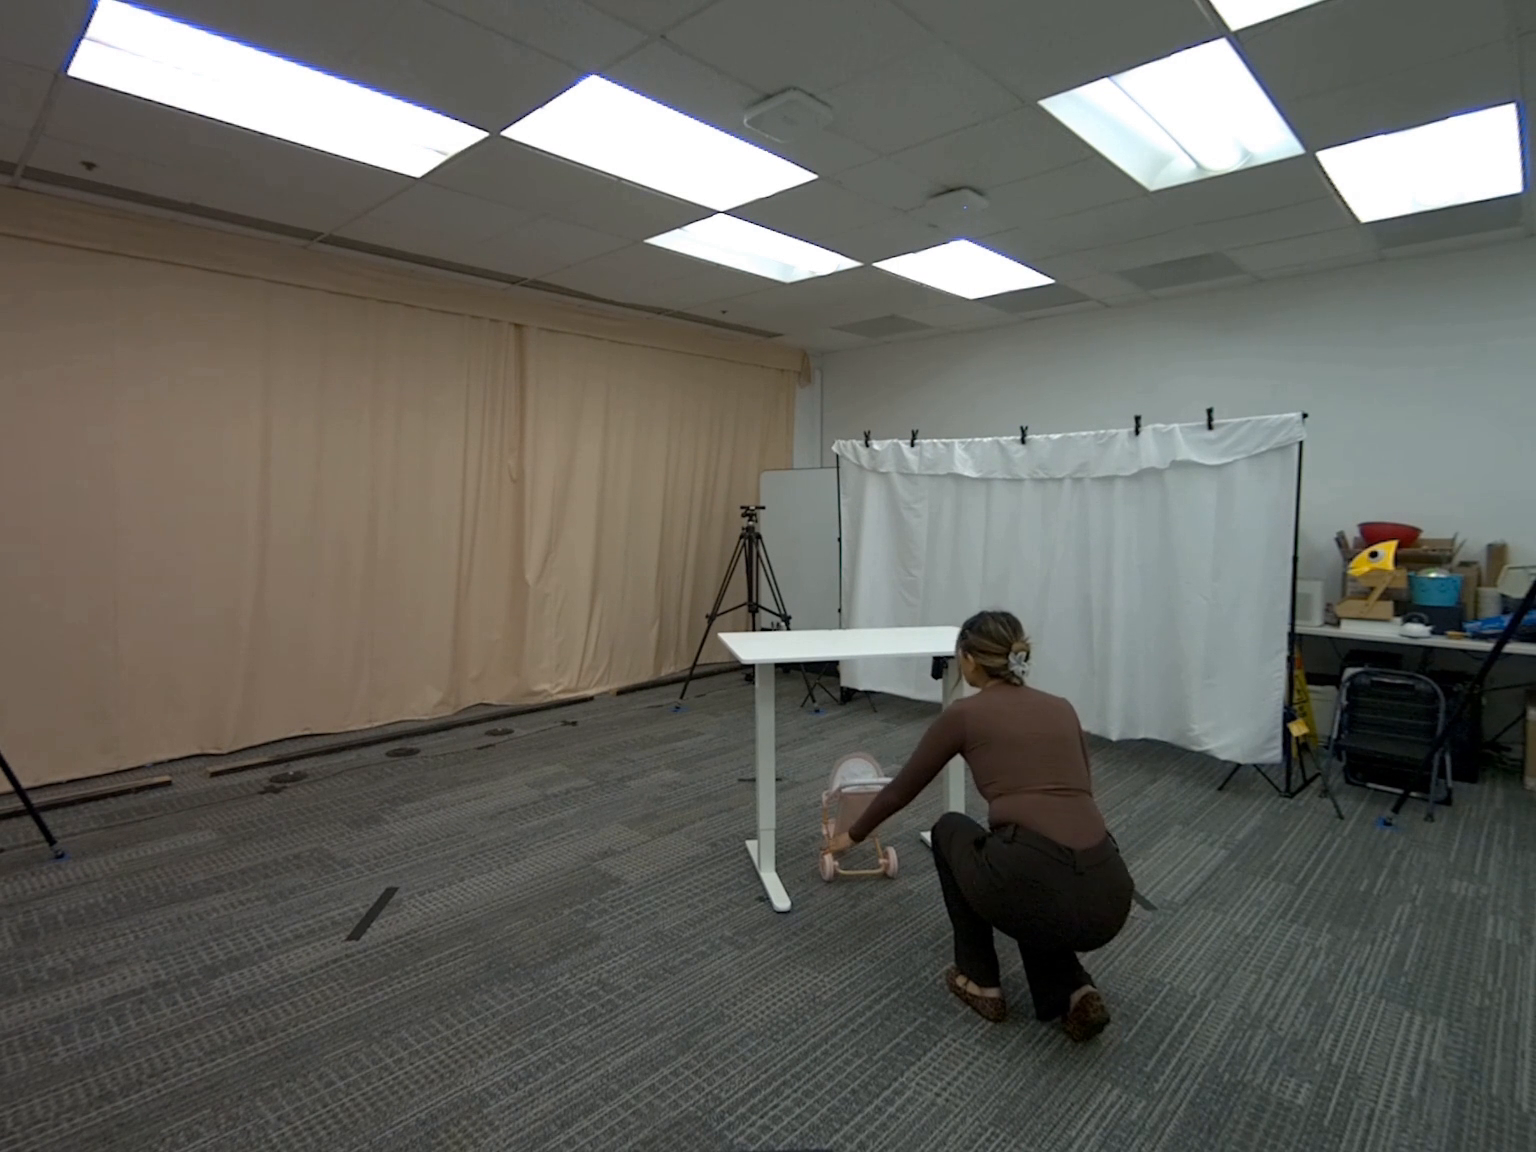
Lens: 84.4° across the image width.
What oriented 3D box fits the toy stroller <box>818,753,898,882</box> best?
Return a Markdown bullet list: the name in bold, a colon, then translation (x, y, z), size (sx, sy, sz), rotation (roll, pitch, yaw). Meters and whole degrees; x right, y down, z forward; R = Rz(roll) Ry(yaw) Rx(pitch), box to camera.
- **toy stroller**: translation (0.336, 0.898, 3.200), size (0.280, 0.529, 0.347), rotation (0, 19, -5)
